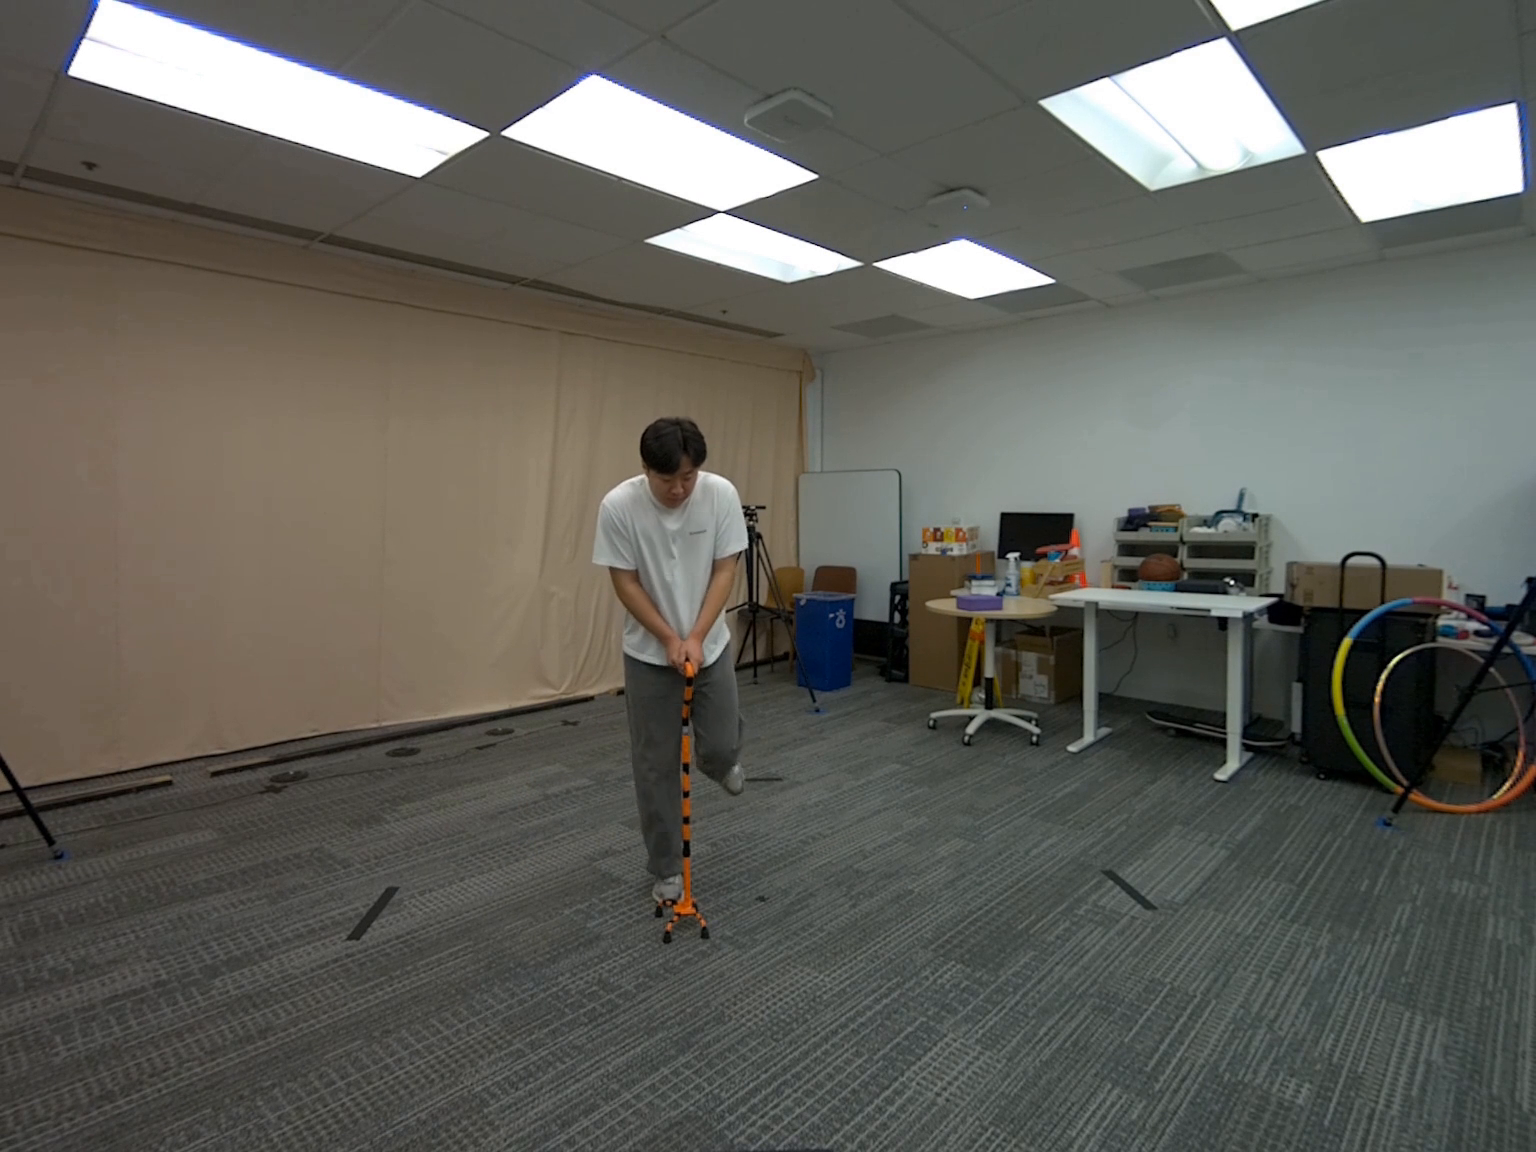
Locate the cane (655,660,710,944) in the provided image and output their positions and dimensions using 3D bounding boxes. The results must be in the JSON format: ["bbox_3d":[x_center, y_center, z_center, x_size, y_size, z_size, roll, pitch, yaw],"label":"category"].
[{"bbox_3d":[-0.282,0.711,2.766,0.149,0.906,0.210,0,3,-15],"label":"cane"}]
